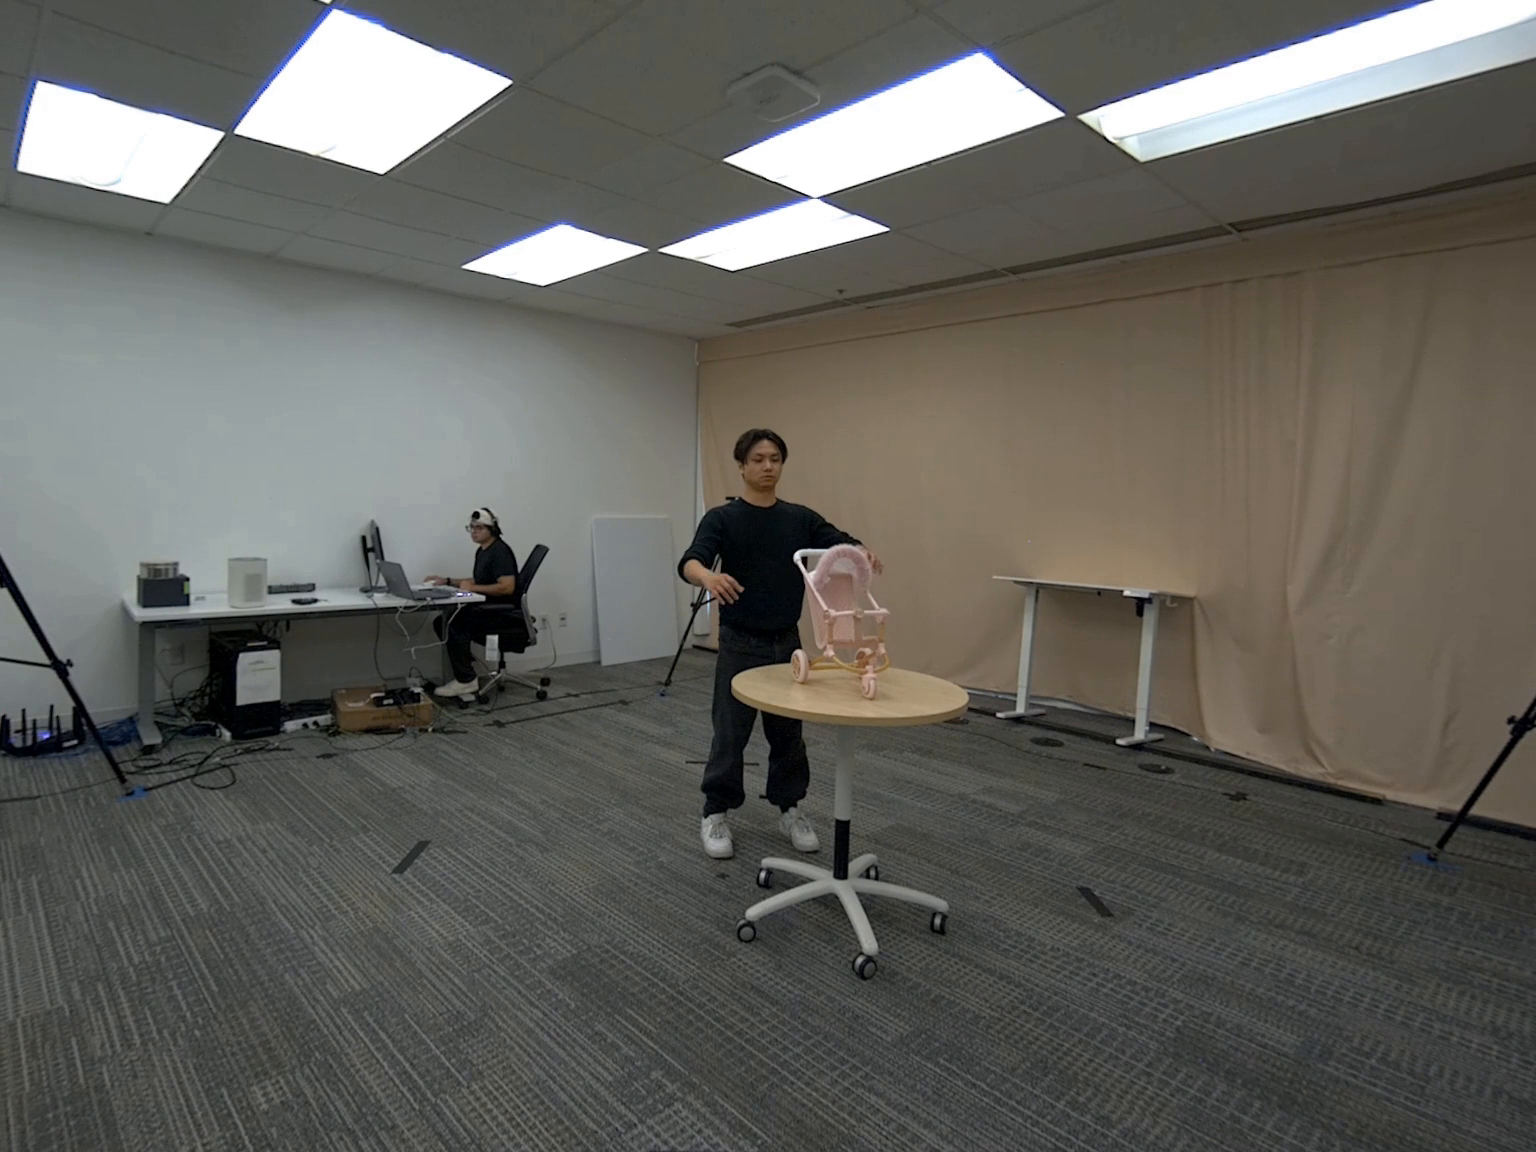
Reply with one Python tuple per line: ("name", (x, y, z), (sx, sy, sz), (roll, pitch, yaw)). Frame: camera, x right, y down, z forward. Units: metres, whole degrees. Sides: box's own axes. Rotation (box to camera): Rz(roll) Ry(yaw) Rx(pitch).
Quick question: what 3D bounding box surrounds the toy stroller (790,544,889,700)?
("toy stroller", (0.242, 0.140, 2.760), (0.277, 0.540, 0.343), (1, -11, -18))
